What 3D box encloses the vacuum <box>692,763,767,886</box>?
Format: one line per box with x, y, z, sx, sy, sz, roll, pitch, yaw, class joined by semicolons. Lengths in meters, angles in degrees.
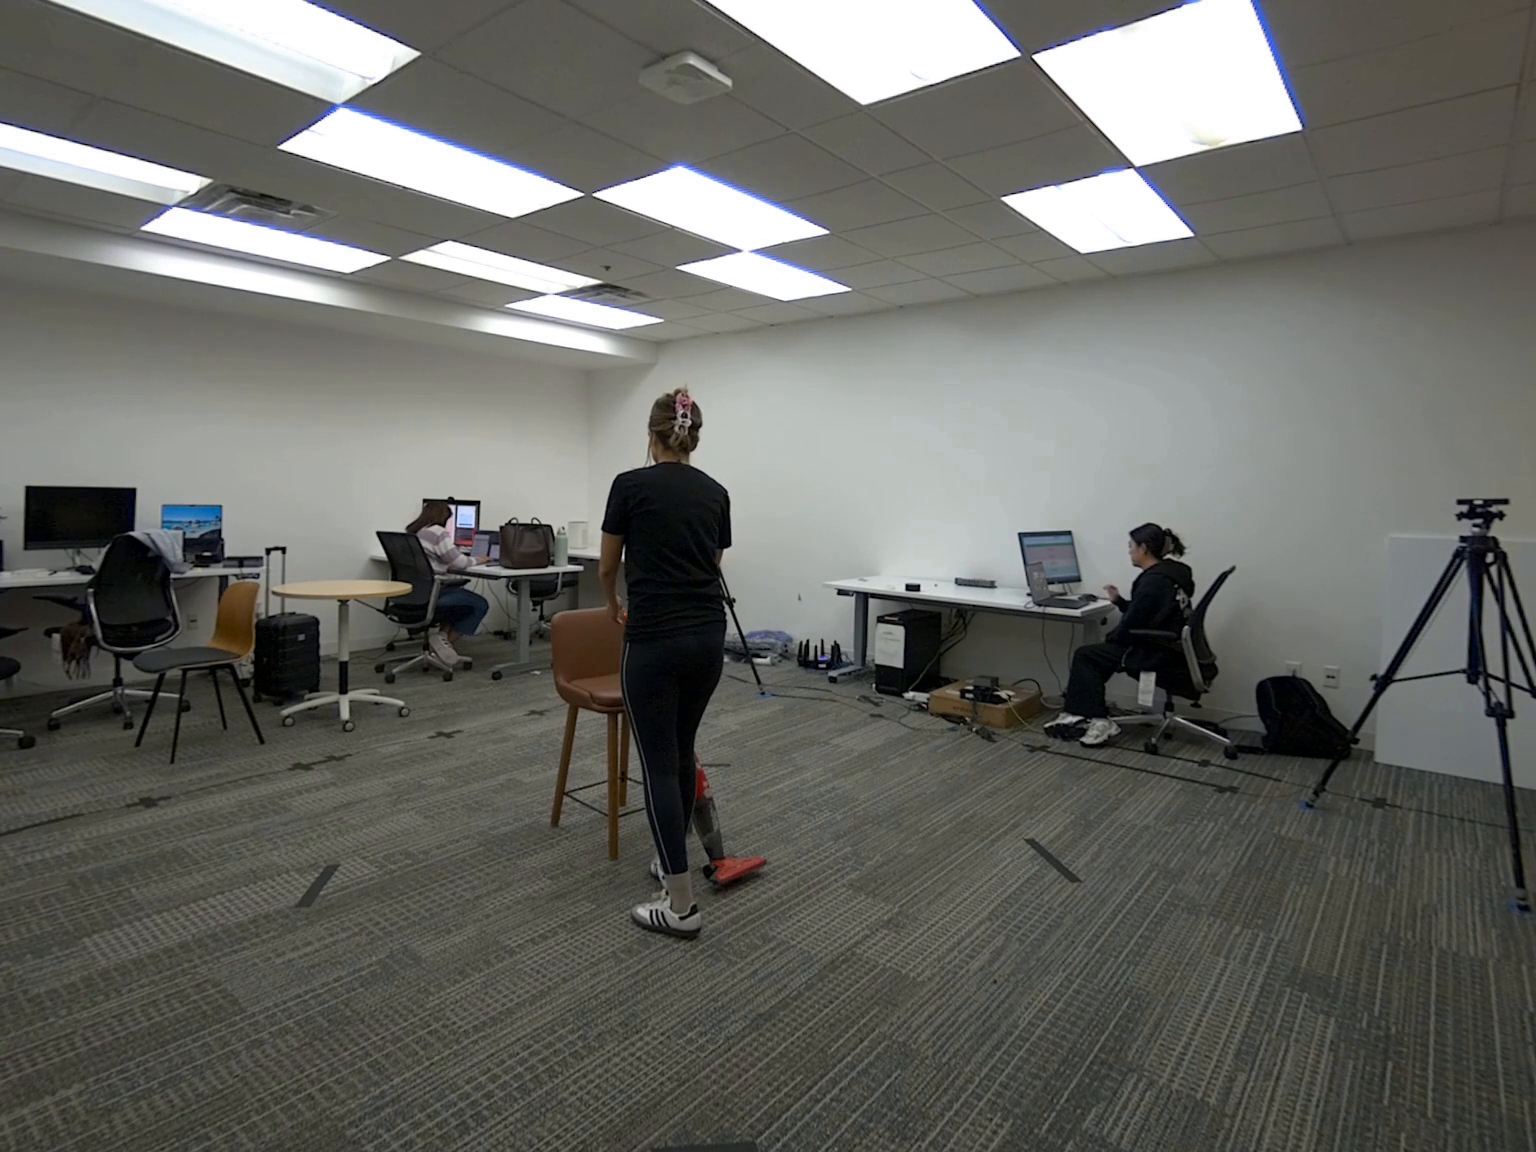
-0.348;0.614;3.227;0.145;1.078;0.244;-40;-25;31;vacuum
